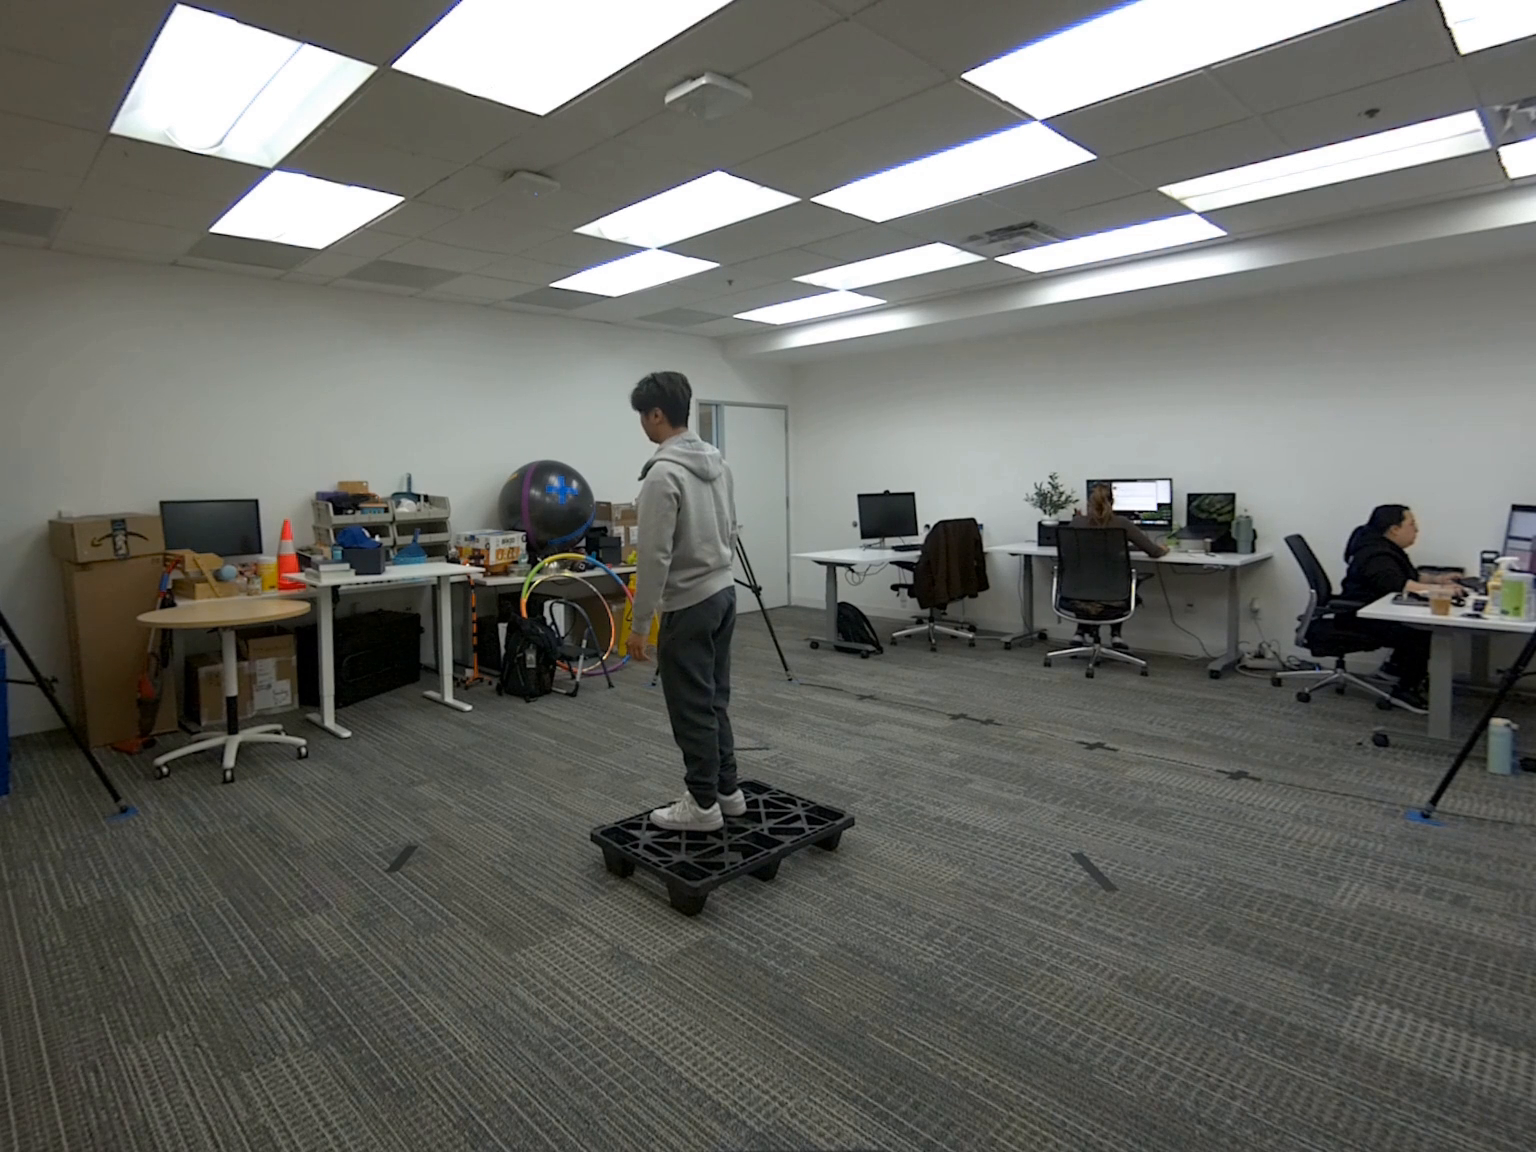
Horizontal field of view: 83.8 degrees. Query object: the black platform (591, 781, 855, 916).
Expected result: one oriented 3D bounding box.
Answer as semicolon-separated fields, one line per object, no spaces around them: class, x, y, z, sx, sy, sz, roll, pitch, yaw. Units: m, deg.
black platform;-0.153;0.976;3.147;0.785;0.142;0.624;-7;10;-43
